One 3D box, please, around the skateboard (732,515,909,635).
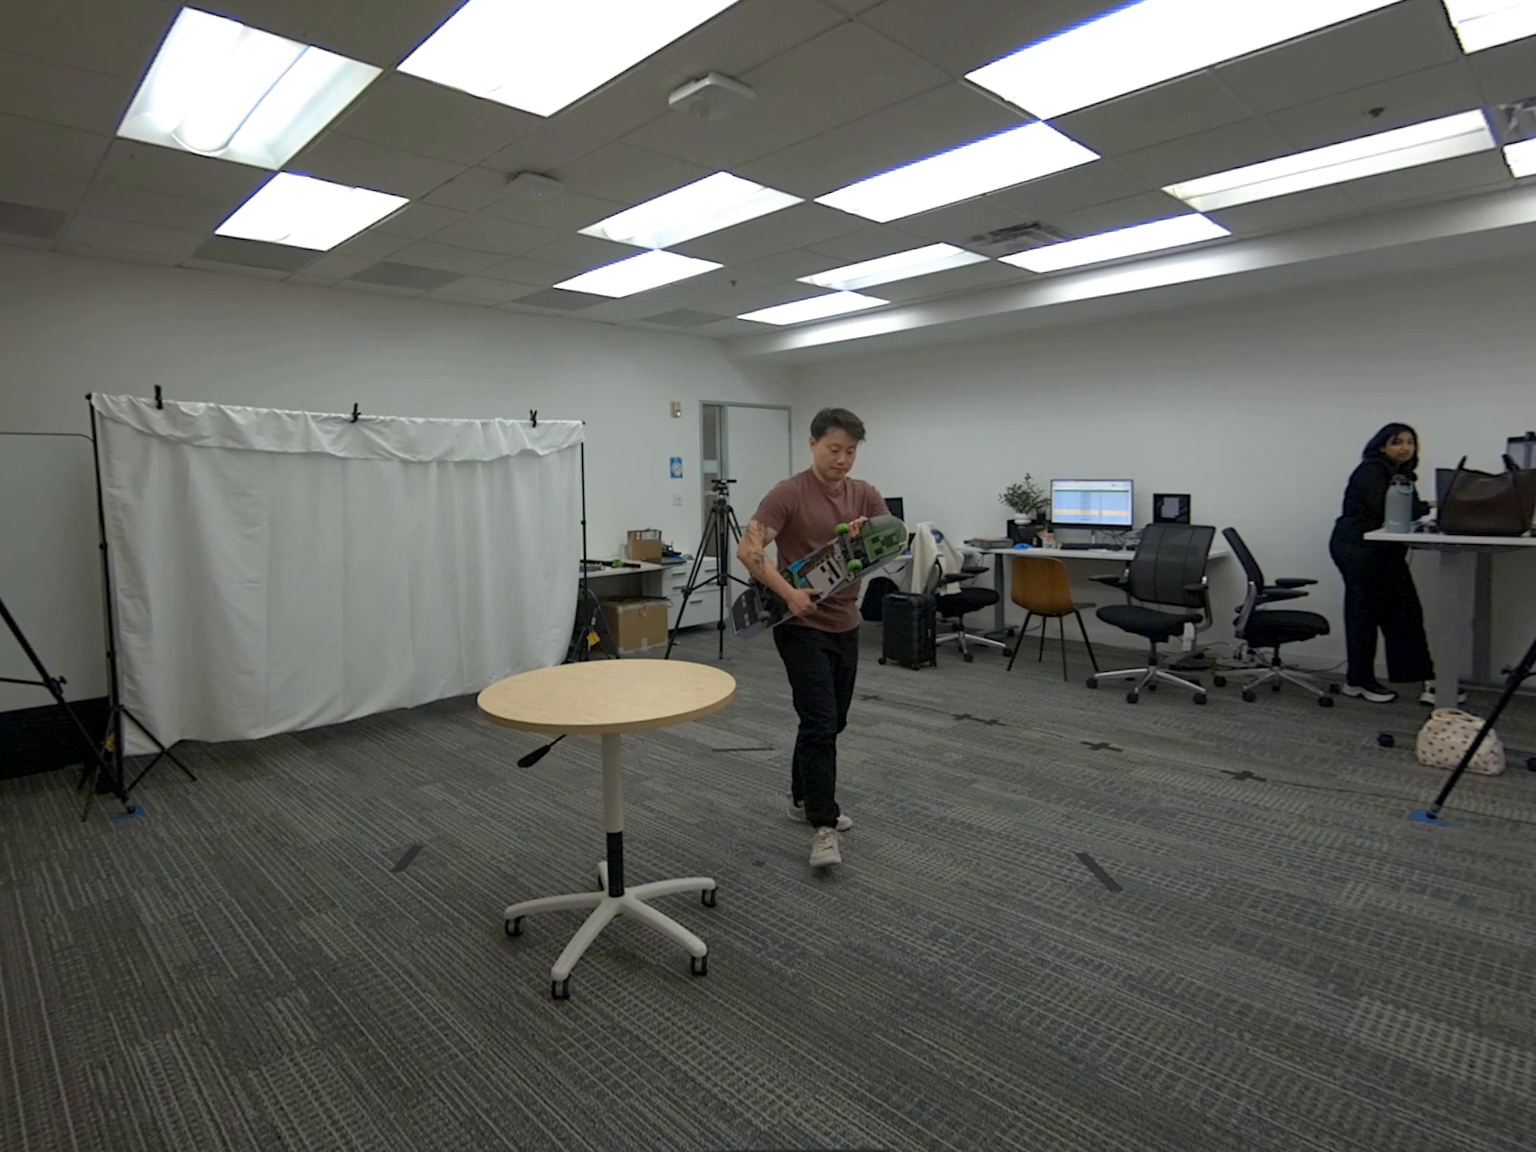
[{"bbox_3d":[0.141,0.009,3.086,0.792,0.199,0.106,-30,-35,26],"label":"skateboard"}]
